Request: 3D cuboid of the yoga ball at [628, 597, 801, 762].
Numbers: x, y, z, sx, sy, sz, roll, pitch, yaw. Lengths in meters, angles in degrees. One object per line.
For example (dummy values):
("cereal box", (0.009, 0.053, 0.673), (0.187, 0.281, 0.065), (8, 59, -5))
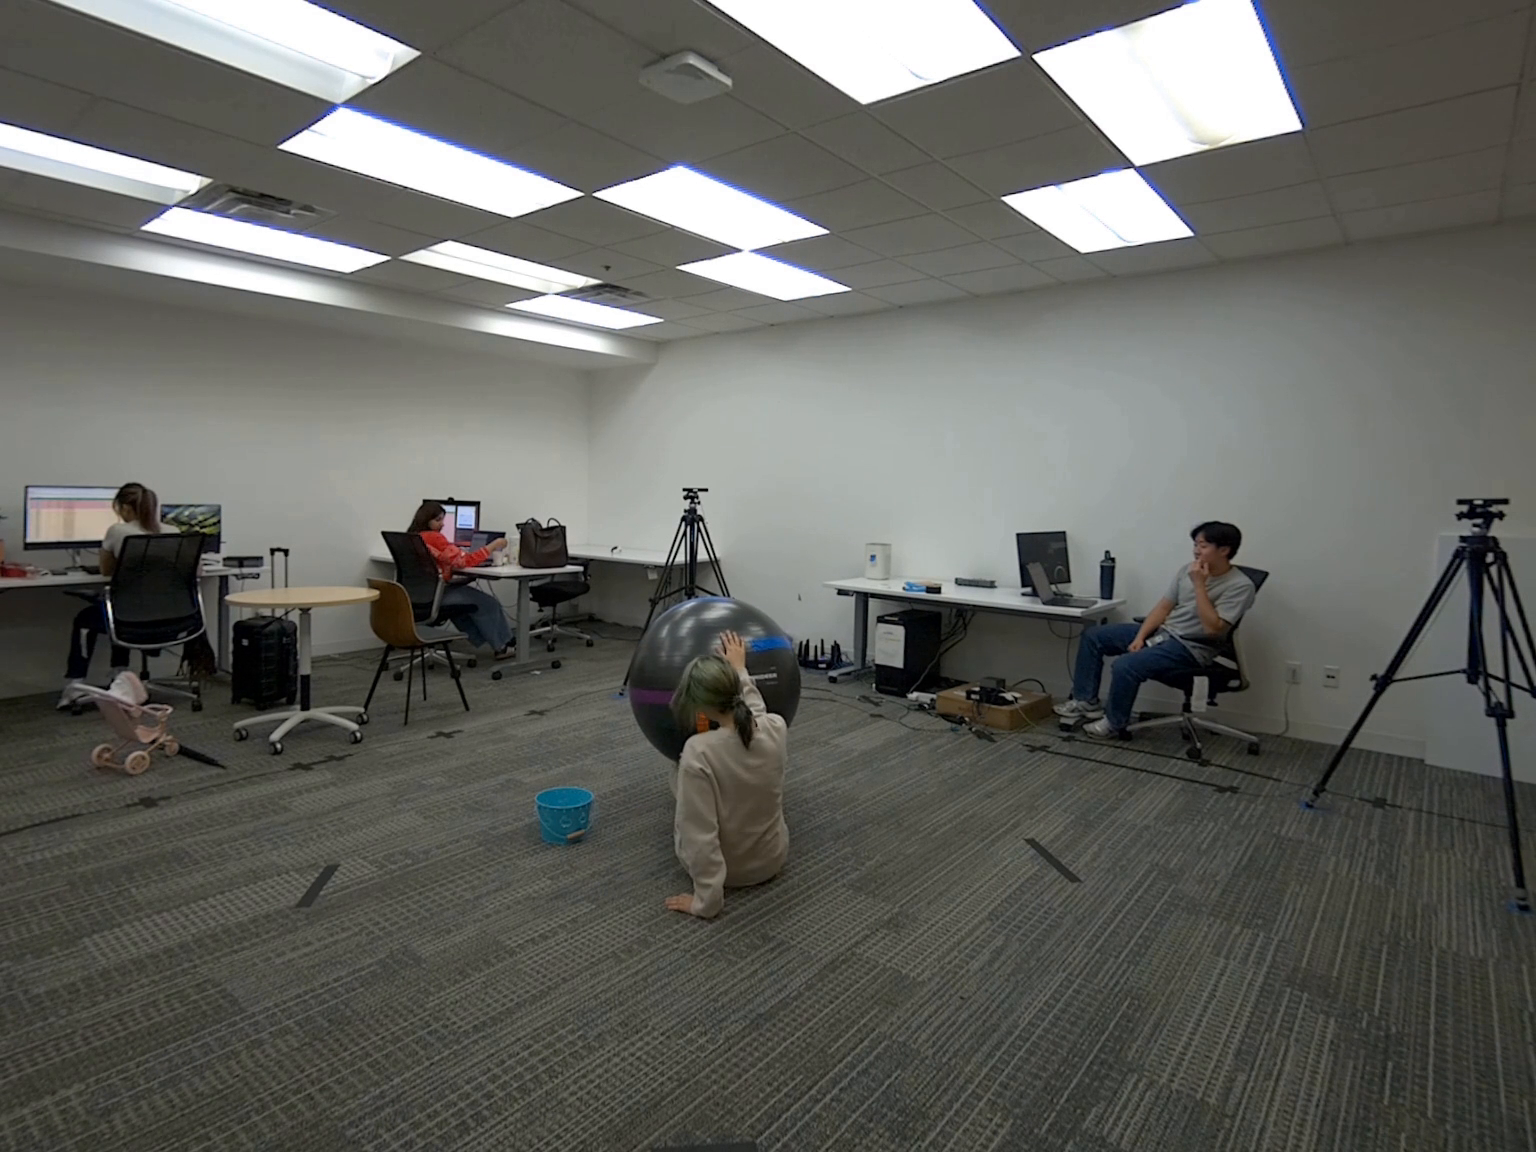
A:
("yoga ball", (-0.257, 0.466, 3.759), (0.757, 0.756, 0.761), (1, 4, -2))
